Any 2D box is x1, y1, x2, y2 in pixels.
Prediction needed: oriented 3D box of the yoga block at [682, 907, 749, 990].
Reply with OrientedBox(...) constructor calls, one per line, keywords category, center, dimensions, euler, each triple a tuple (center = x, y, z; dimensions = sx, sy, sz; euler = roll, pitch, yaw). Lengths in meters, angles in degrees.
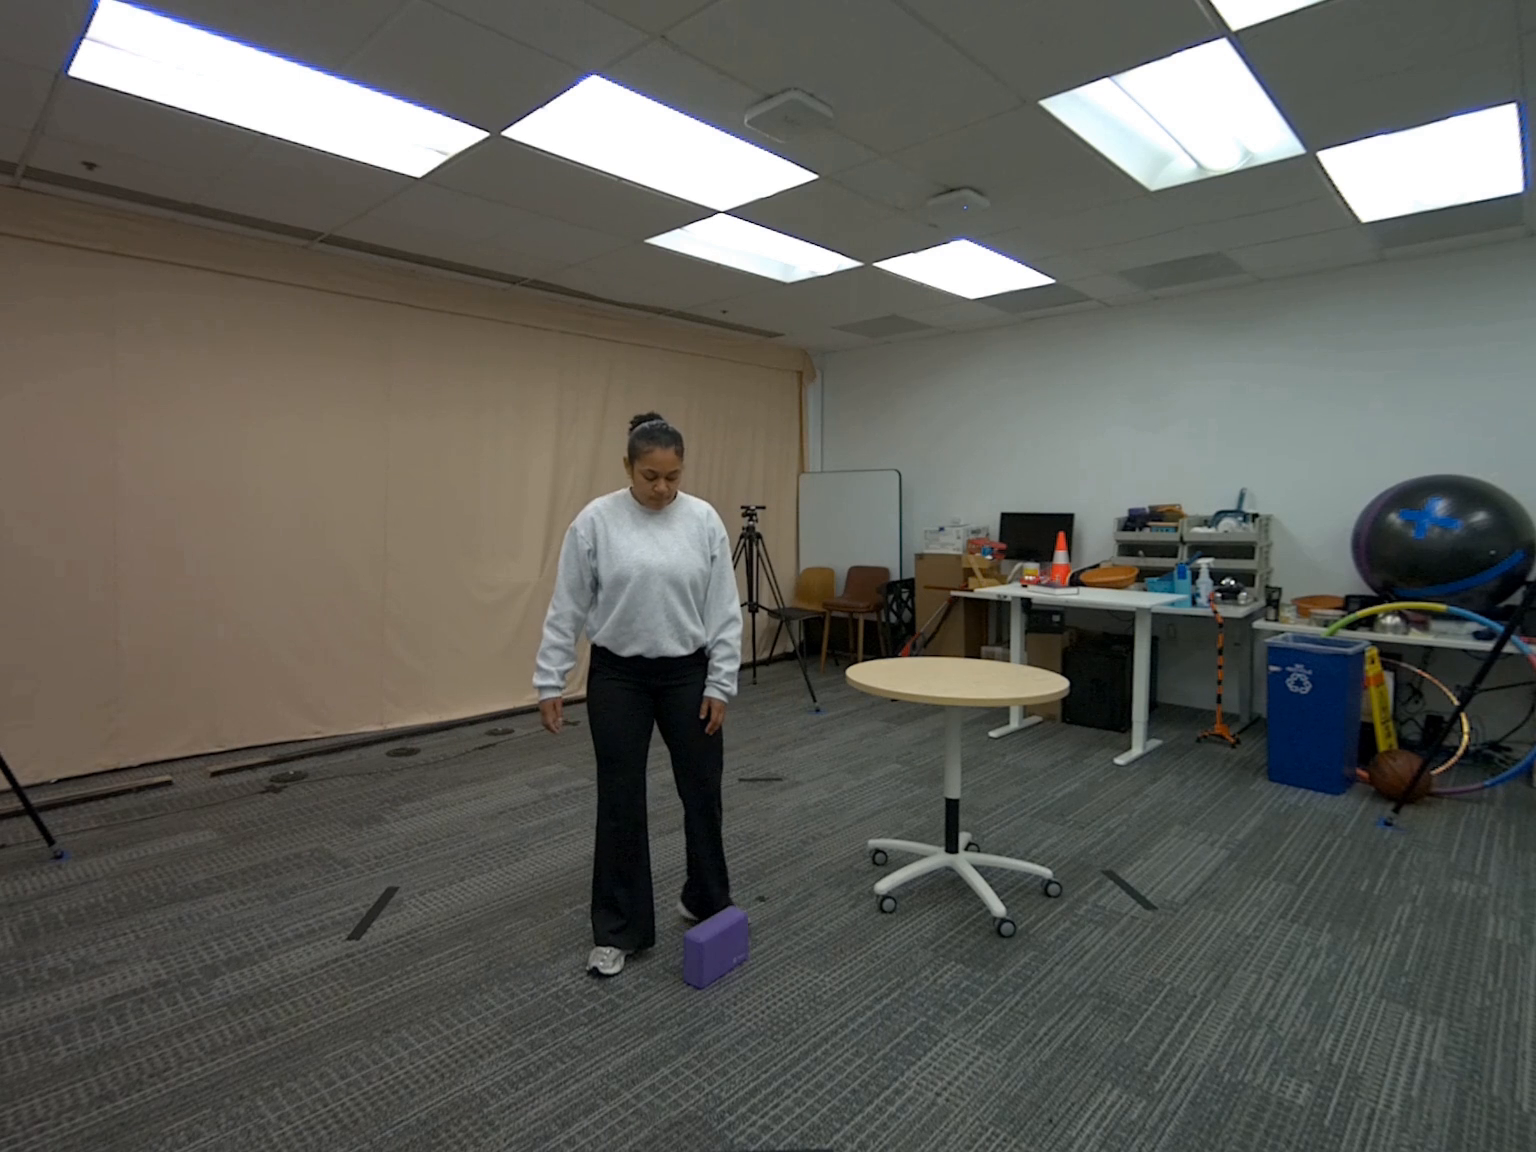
OrientedBox(category="yoga block", center=(-0.158, 1.099, 2.523), dimensions=(0.079, 0.148, 0.223), euler=(1, 6, 35))
